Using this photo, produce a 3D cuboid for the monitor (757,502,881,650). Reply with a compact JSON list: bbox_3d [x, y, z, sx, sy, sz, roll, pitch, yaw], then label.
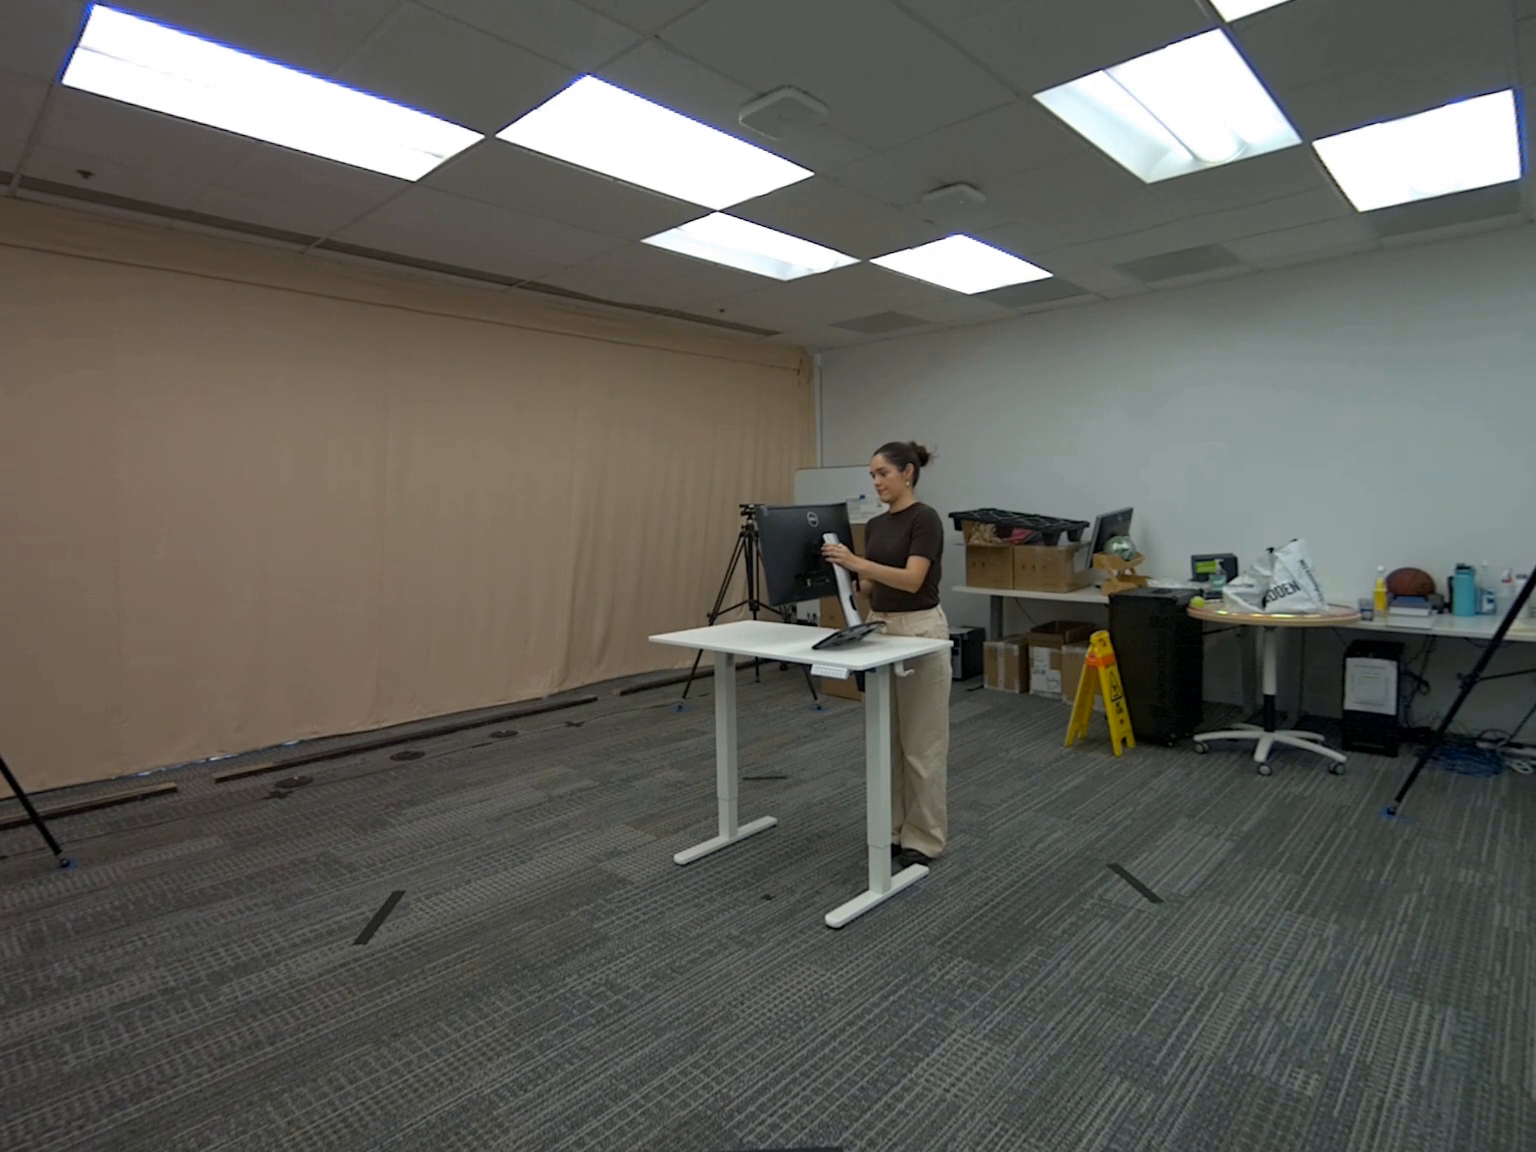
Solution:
[{"bbox_3d":[0.214,-0.017,3.039,0.190,0.529,0.523,-29,-15,39],"label":"monitor"}]
